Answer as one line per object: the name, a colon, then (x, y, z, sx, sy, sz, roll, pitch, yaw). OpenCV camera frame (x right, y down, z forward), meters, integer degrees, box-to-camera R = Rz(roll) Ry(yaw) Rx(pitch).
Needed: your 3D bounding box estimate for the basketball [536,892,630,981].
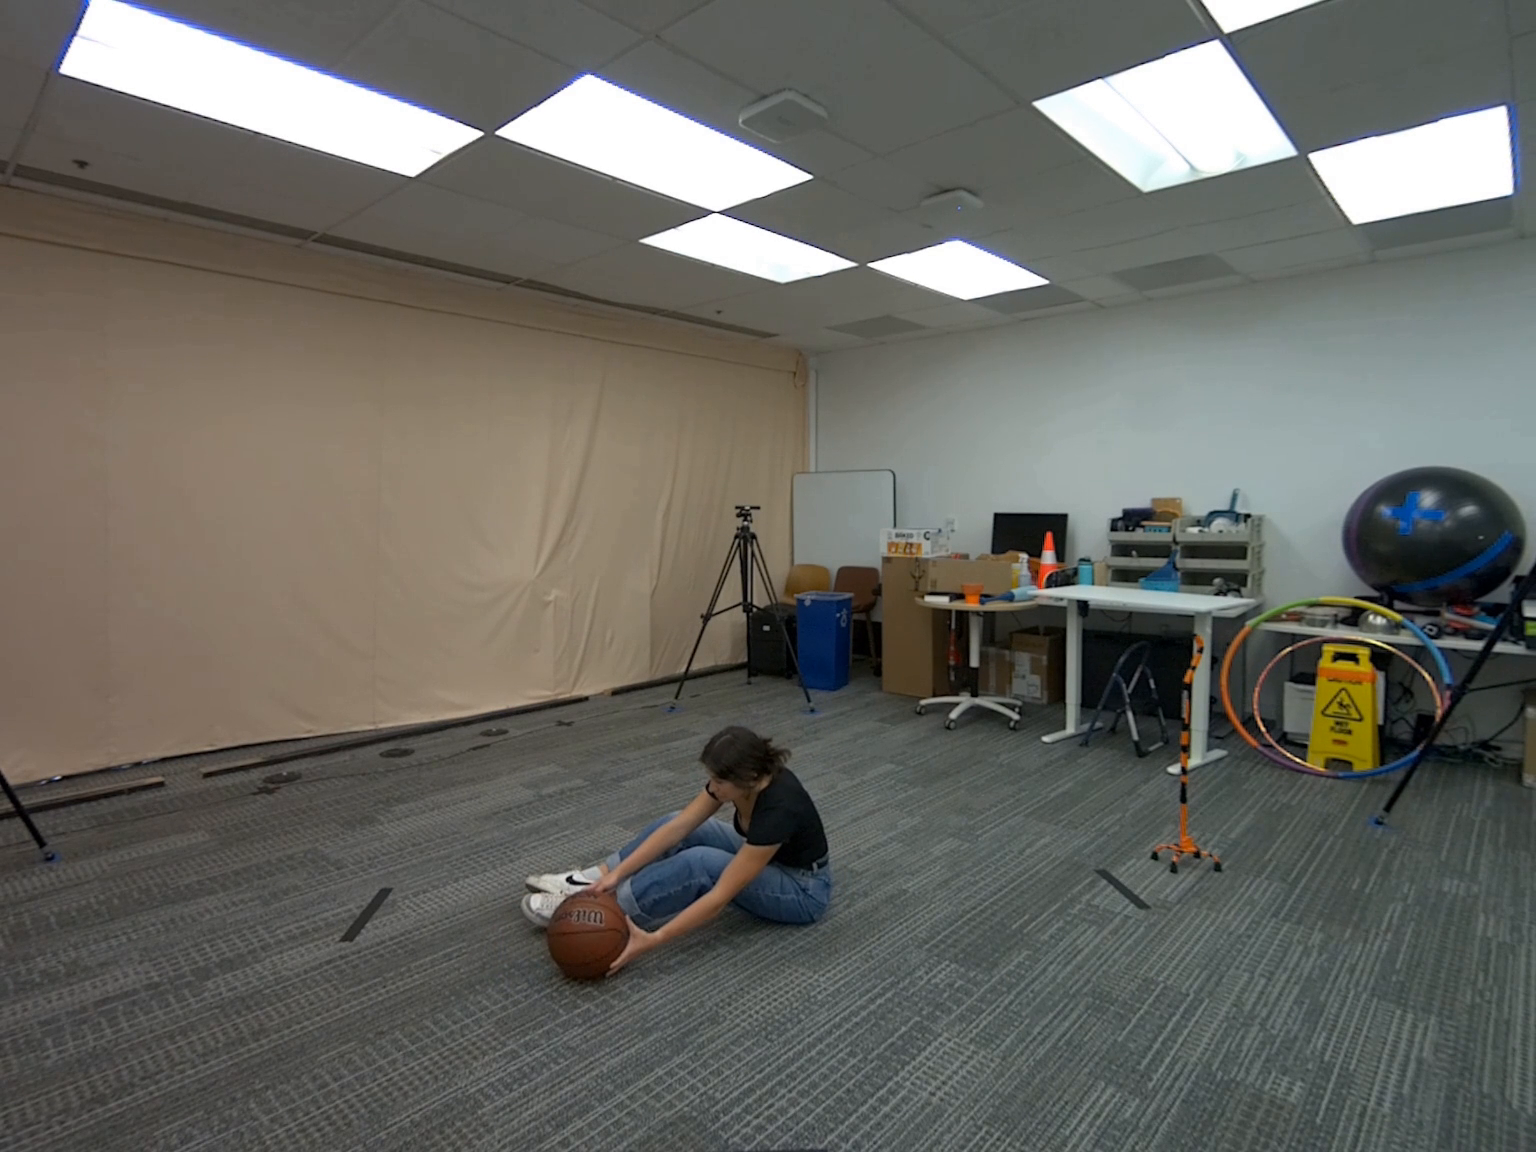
basketball: (-0.535, 1.063, 2.515, 0.236, 0.235, 0.237, 0, 4, -2)
